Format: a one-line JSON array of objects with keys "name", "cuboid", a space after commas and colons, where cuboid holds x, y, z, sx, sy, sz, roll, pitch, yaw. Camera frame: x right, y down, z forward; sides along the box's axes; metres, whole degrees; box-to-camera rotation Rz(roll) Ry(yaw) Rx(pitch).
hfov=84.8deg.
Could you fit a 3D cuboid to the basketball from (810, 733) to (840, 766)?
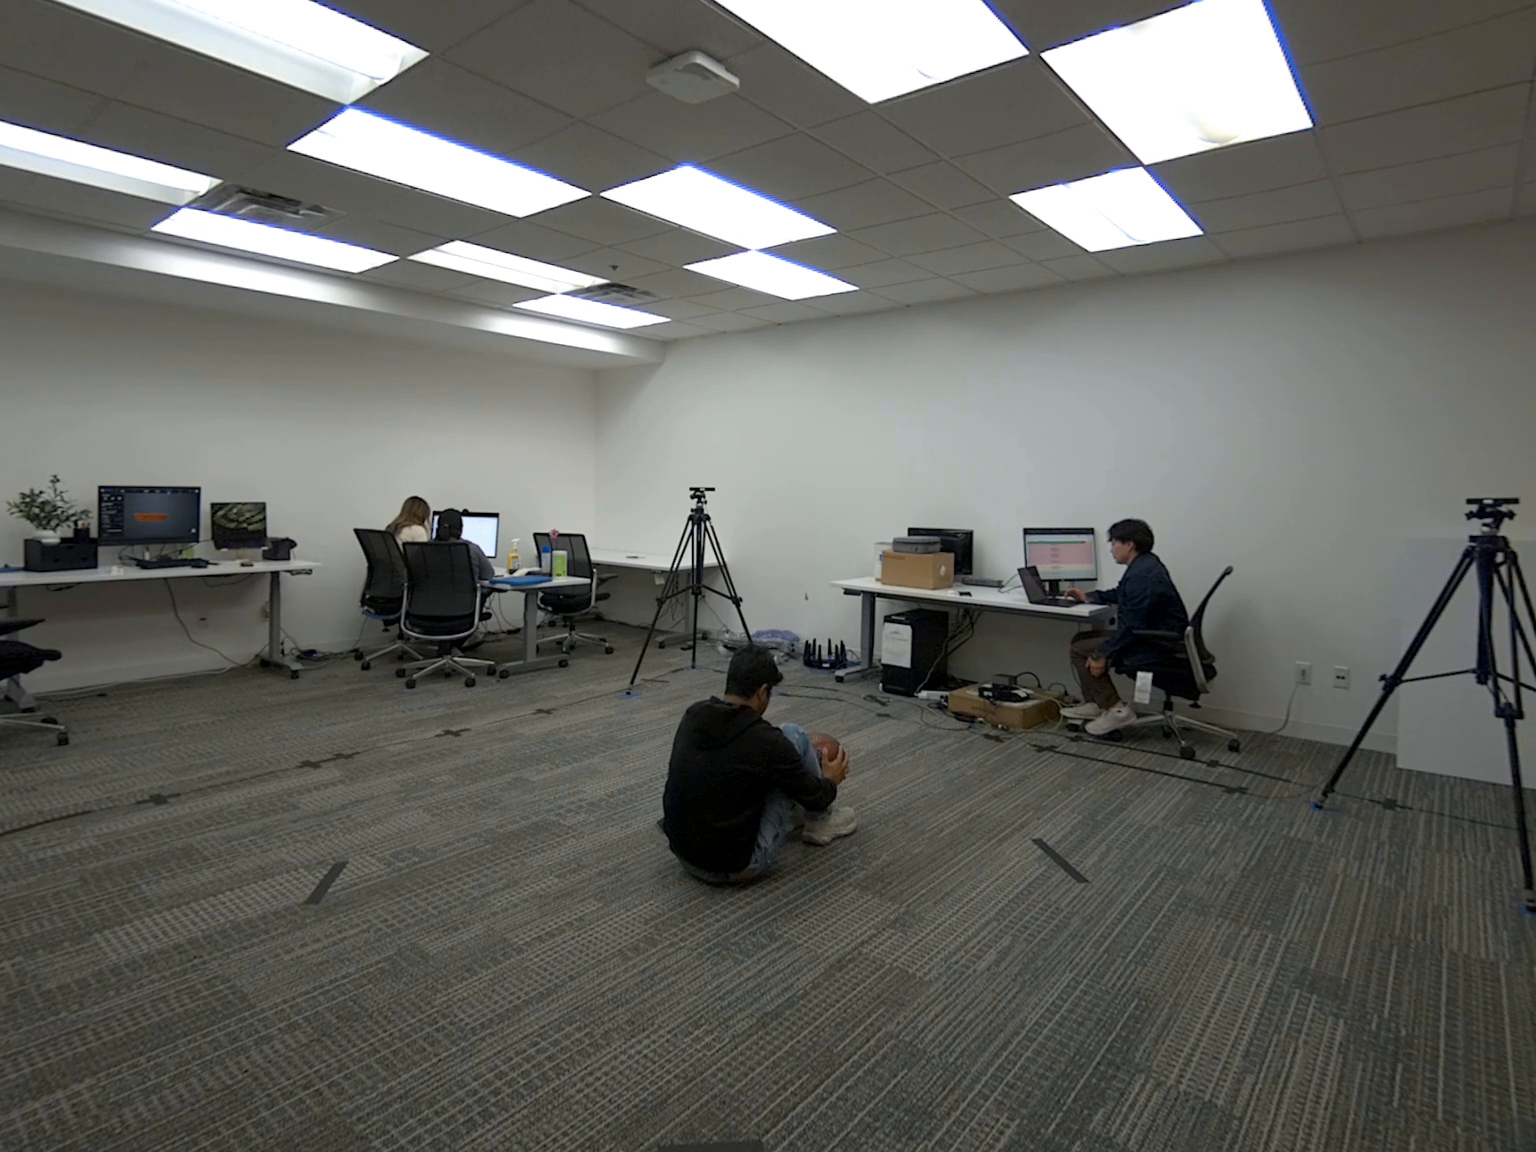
[{"name": "basketball", "cuboid": [0.196, 0.757, 3.503, 0.235, 0.235, 0.237, 1, 4, -2]}]
